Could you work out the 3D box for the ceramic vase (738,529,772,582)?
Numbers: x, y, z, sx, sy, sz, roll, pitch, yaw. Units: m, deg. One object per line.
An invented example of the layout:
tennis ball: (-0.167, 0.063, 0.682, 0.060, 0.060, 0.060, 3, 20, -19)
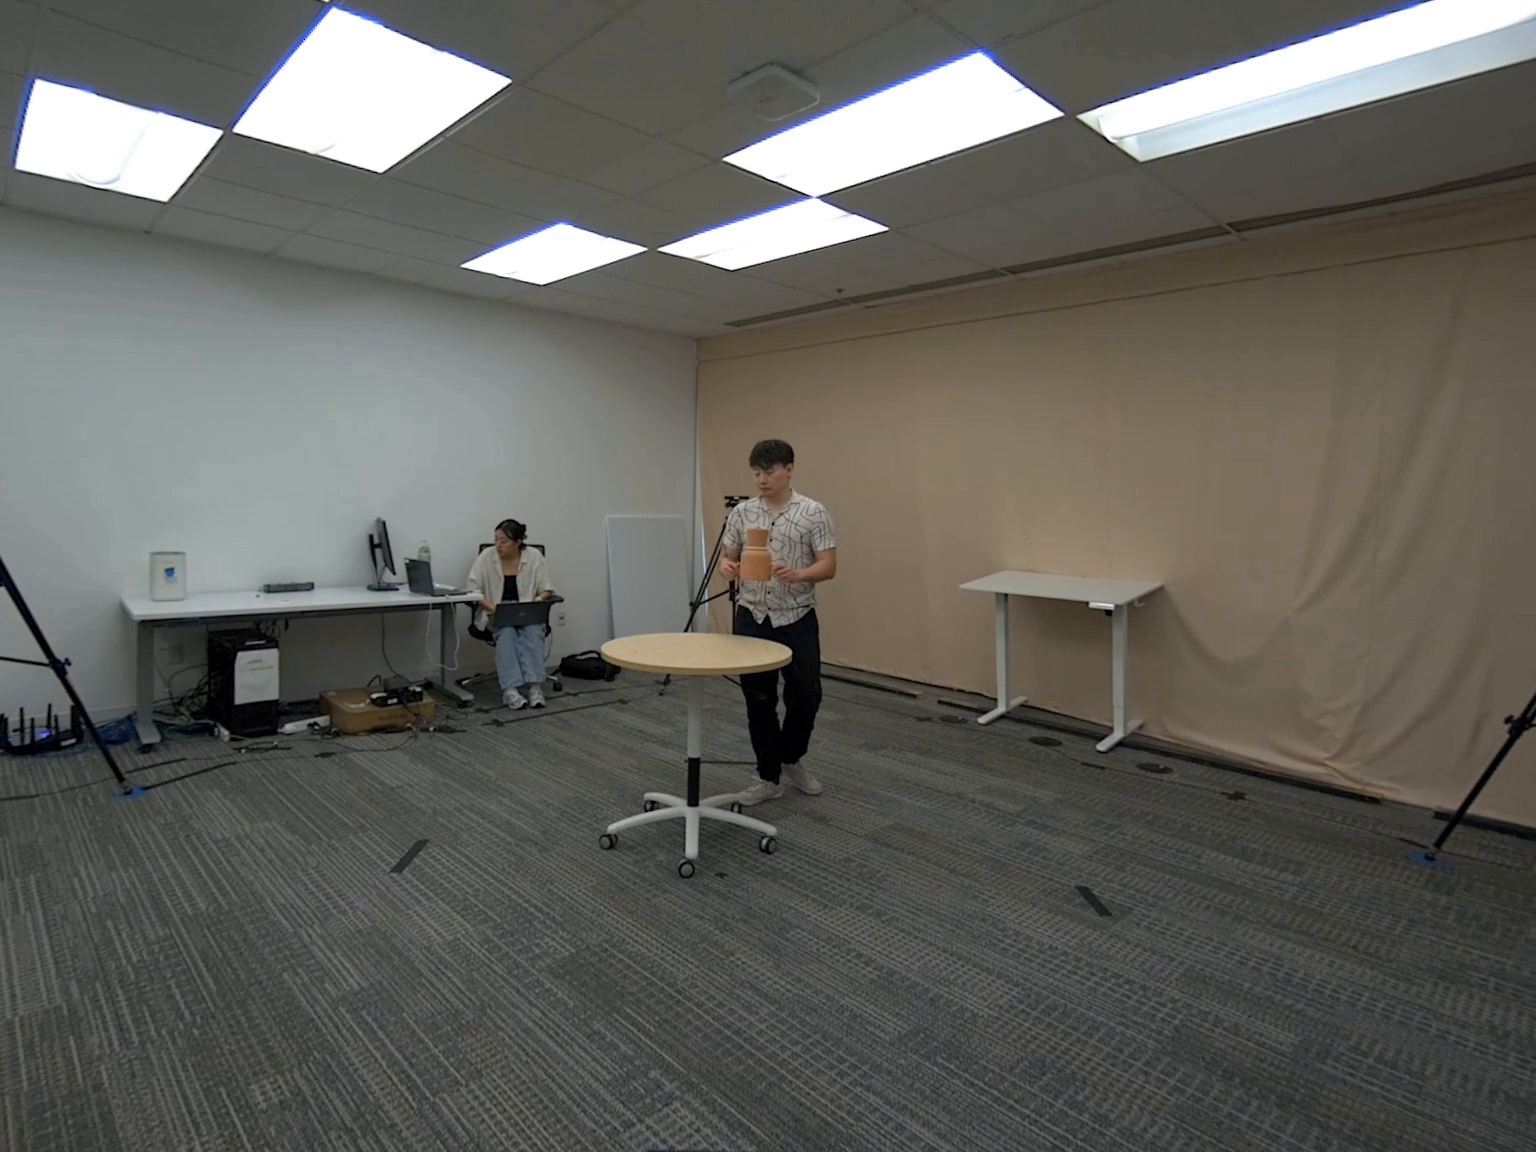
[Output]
ceramic vase: (-0.050, -0.092, 3.662, 0.157, 0.220, 0.136, 1, -2, -17)
